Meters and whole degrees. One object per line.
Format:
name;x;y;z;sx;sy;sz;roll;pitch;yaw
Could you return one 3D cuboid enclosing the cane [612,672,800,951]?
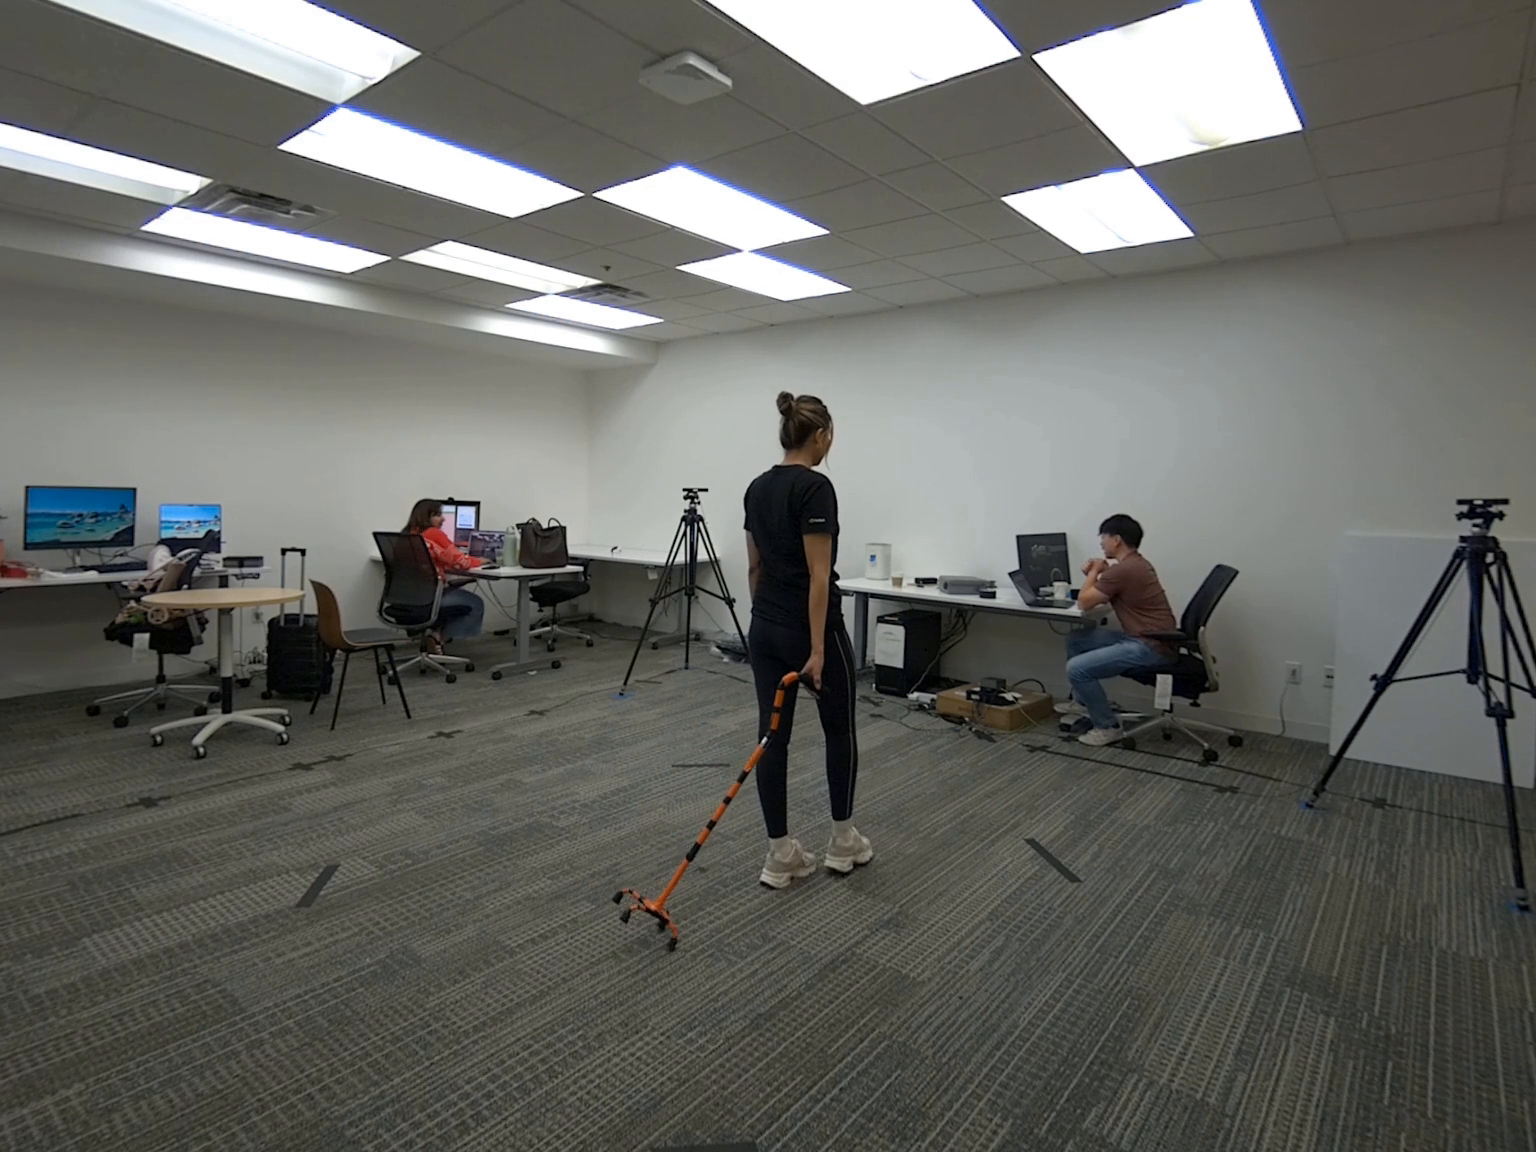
cane;-0.140;0.688;2.642;0.202;0.909;0.155;37;-6;-18
